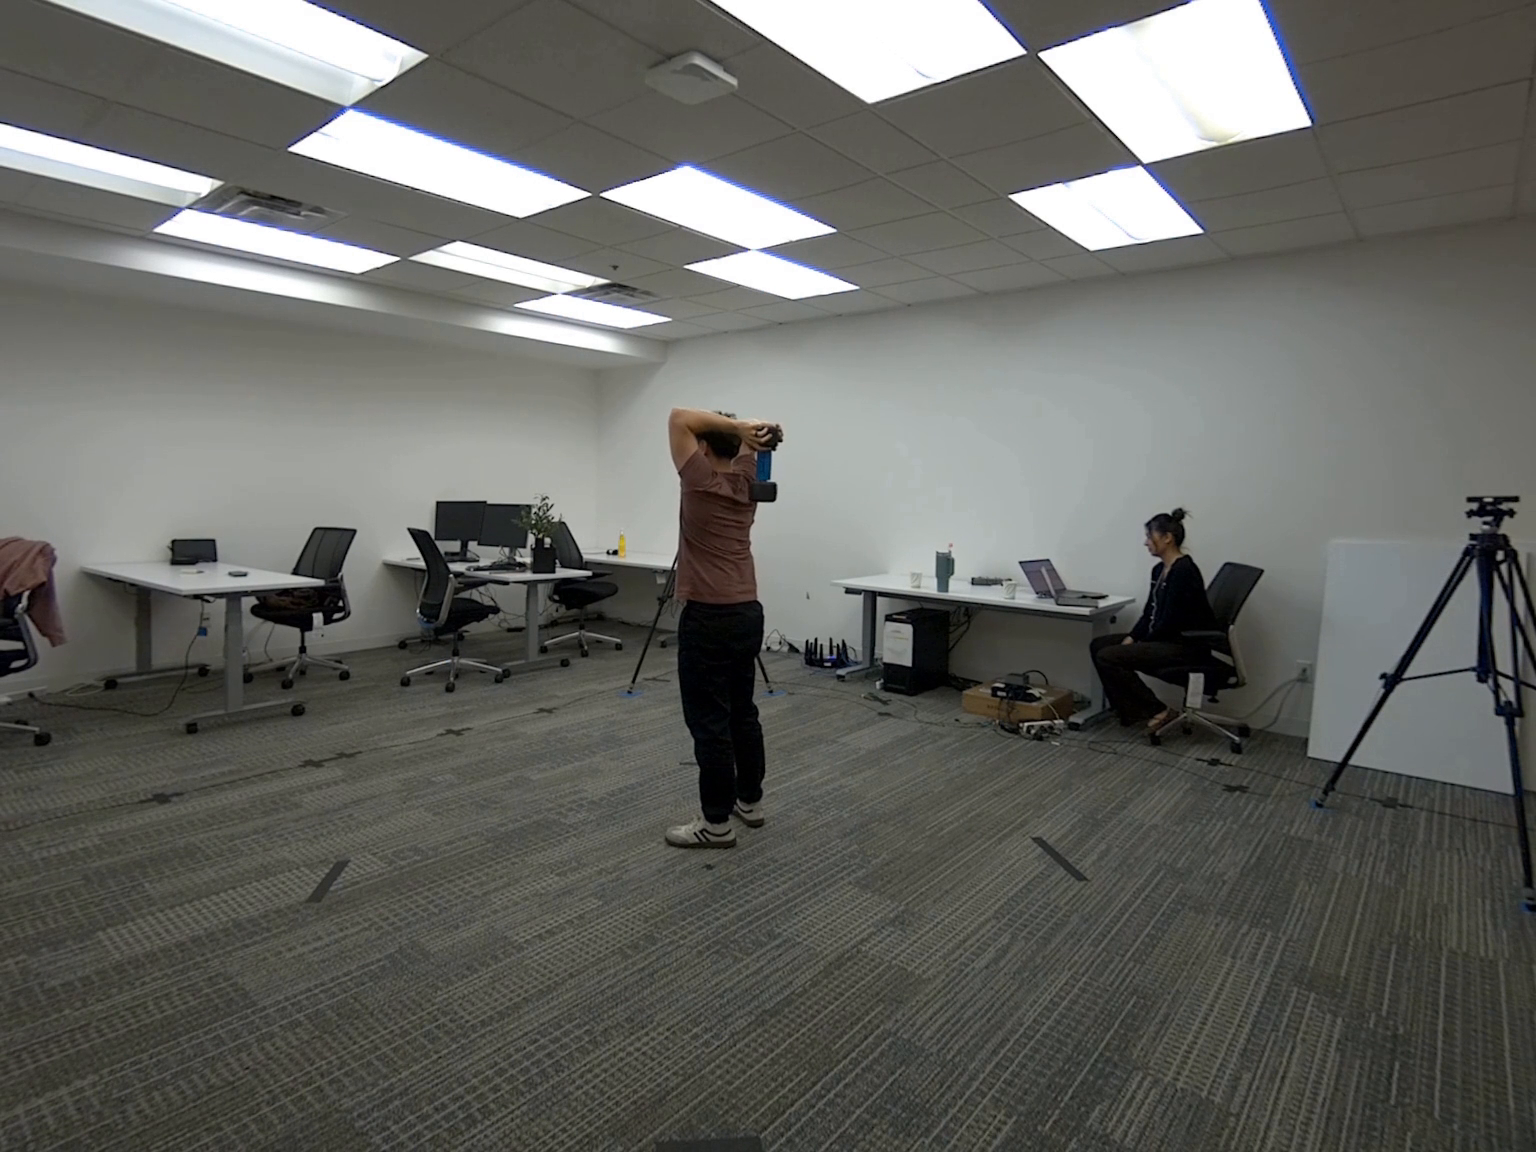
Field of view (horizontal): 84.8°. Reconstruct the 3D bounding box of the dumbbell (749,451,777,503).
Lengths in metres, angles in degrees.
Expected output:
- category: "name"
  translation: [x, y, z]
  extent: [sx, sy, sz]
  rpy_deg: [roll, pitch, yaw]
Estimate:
- category: "dumbbell"
  translation: [-0.032, -0.441, 3.306]
  extent: [0.127, 0.293, 0.105]
  rpy_deg: [4, 4, 39]
